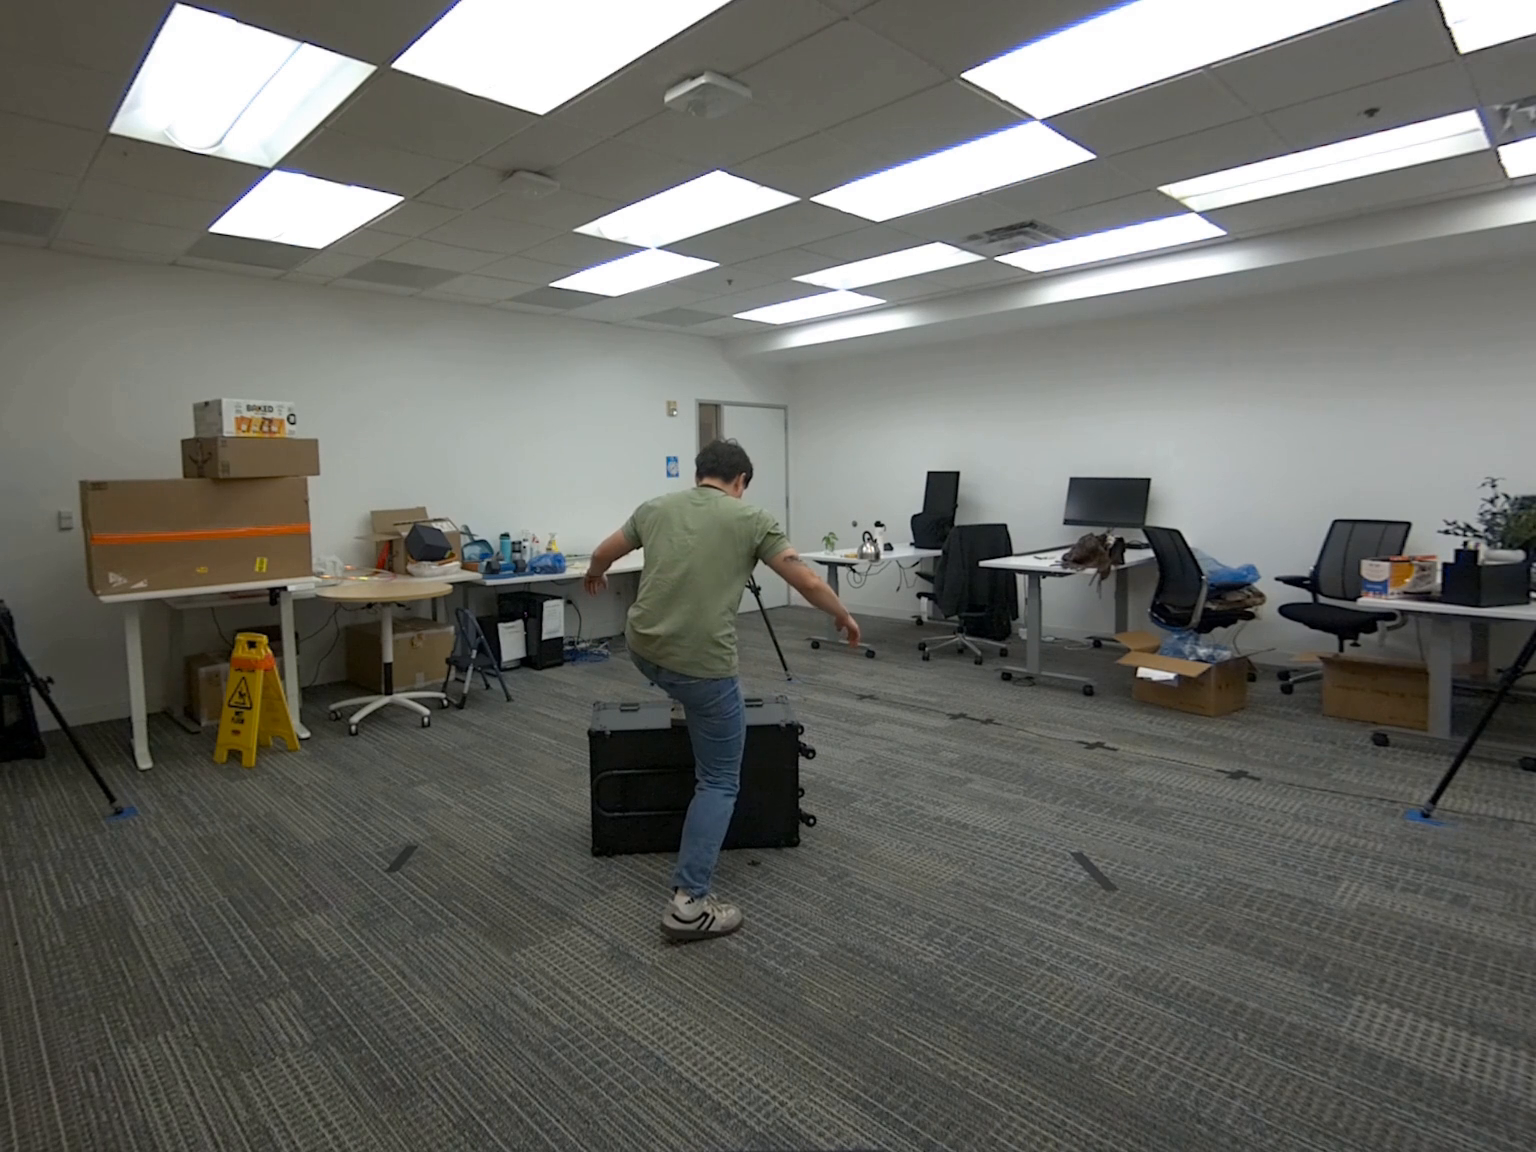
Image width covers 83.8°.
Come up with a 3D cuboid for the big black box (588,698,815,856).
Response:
[{"bbox_3d":[-0.261,0.766,3.345,0.857,0.518,0.401,-1,7,-5],"label":"big black box"}]
